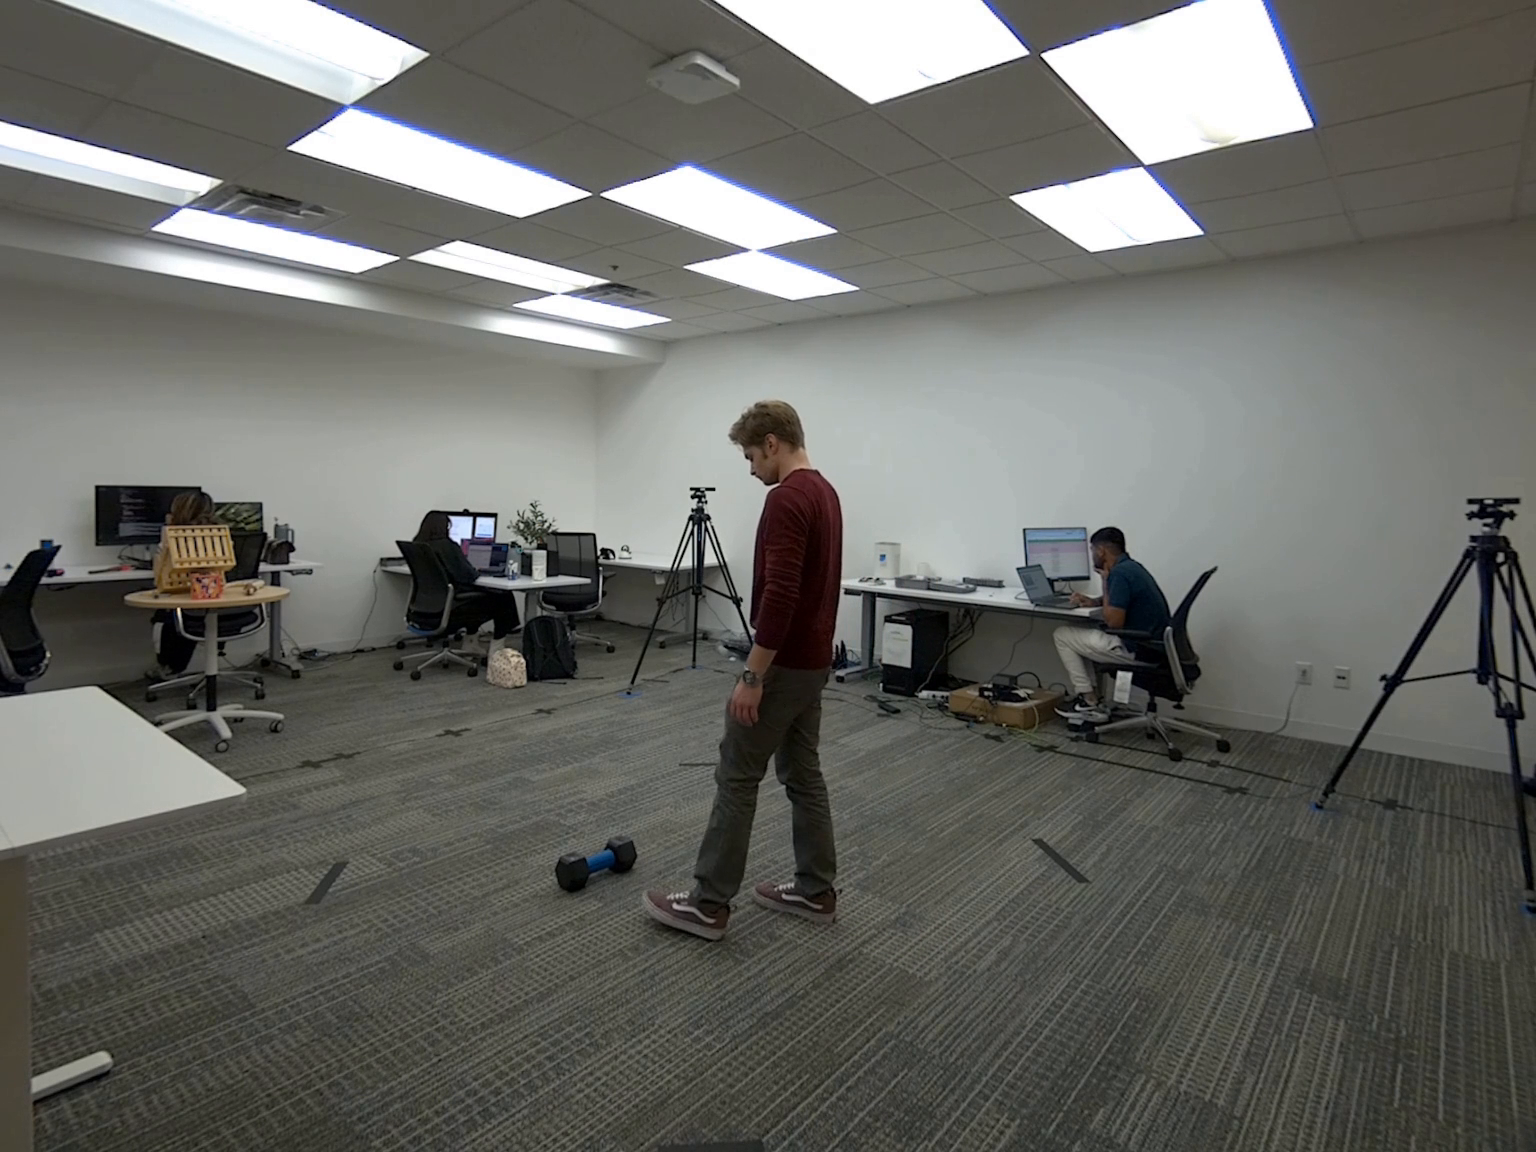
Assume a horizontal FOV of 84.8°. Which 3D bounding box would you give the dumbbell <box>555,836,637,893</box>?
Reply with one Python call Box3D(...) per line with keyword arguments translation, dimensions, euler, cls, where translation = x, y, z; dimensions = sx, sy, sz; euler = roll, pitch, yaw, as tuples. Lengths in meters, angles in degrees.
Box3D(translation=(-0.617, 1.015, 3.017), dimensions=(0.285, 0.126, 0.109), euler=(-4, -24, -46), cls="dumbbell")
